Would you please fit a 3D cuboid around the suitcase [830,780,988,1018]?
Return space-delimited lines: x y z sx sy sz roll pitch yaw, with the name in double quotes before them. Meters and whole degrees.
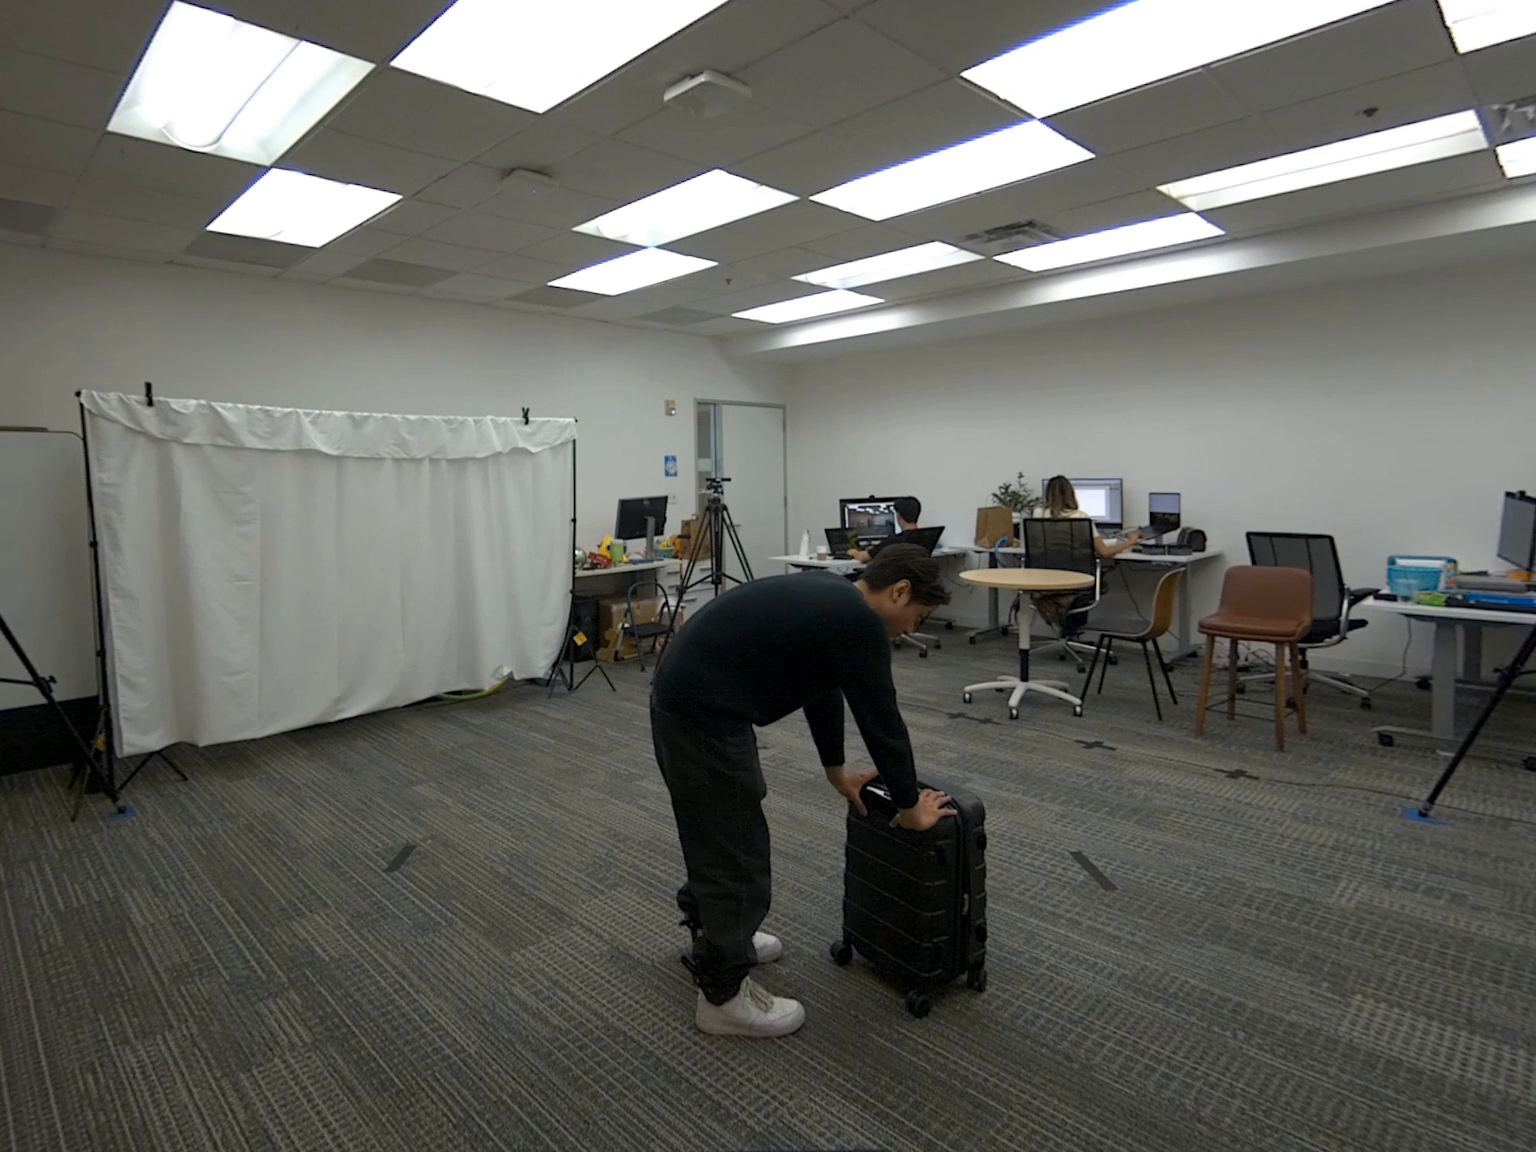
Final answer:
"suitcase" 0.414 0.844 2.400 0.242 0.548 0.386 -1 2 -34
